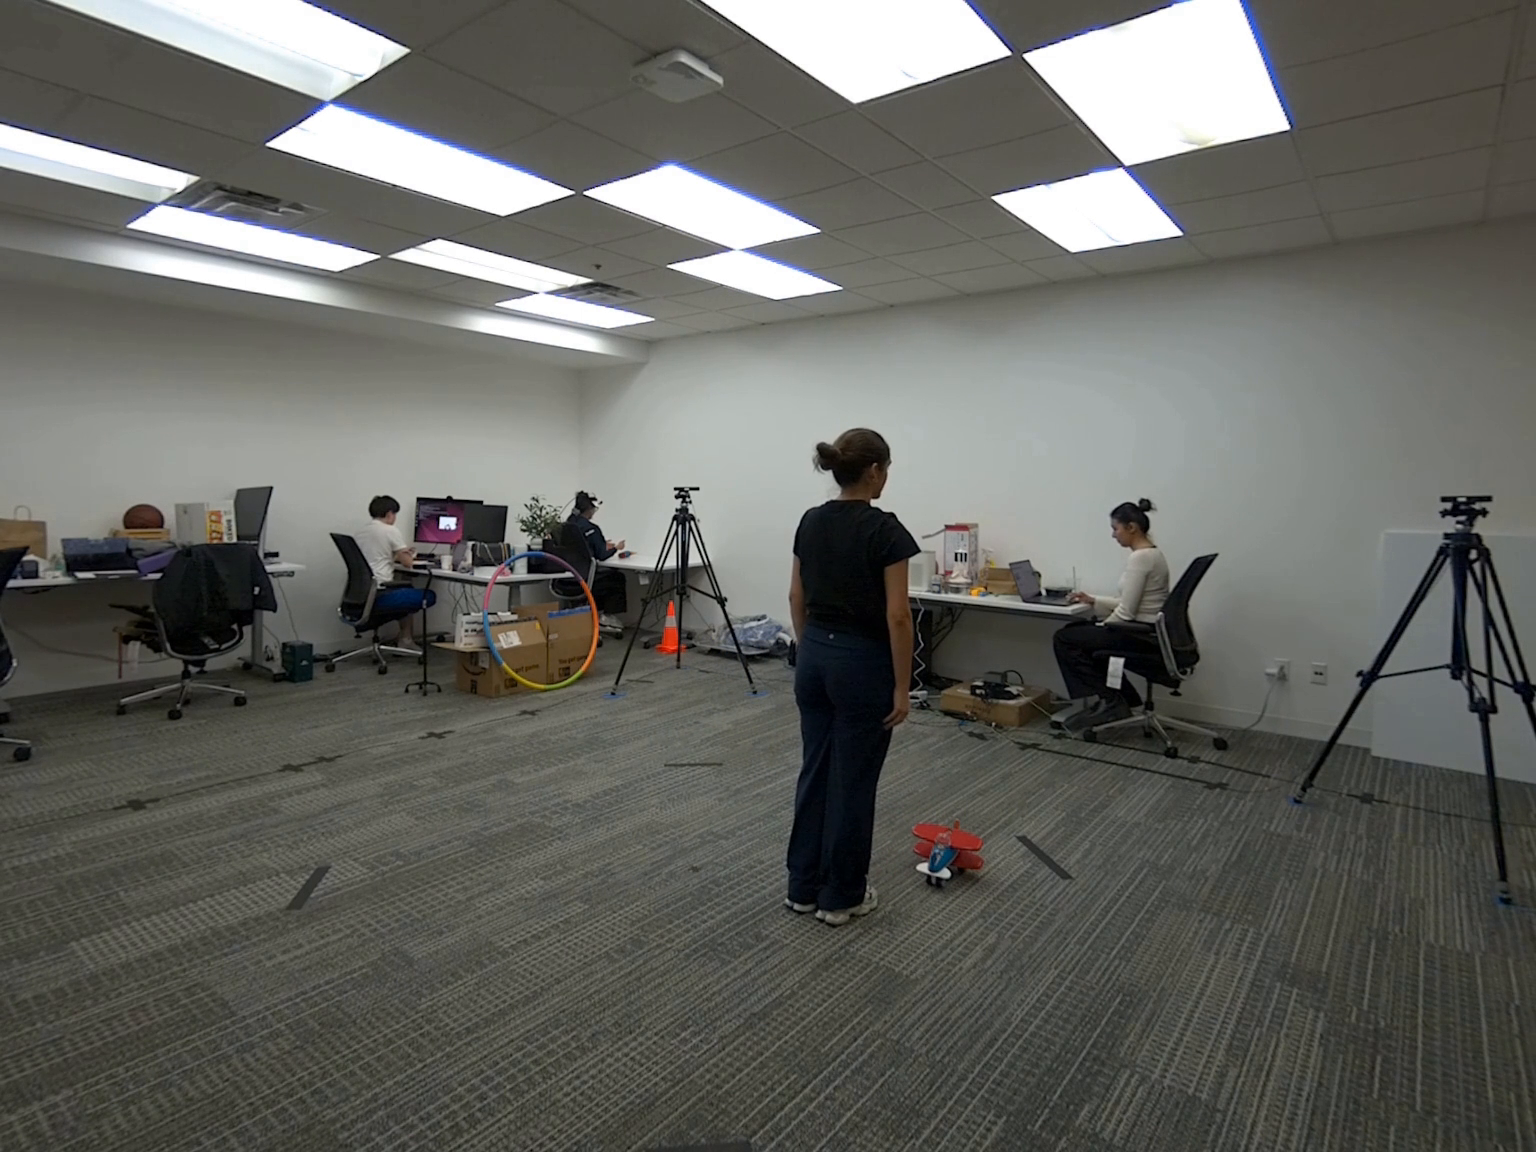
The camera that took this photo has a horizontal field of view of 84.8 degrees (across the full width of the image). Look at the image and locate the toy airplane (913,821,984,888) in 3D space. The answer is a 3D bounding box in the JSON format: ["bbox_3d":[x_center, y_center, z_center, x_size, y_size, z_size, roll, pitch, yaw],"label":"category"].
[{"bbox_3d":[0.676,1.013,3.085,0.253,0.156,0.258,1,4,4],"label":"toy airplane"}]
